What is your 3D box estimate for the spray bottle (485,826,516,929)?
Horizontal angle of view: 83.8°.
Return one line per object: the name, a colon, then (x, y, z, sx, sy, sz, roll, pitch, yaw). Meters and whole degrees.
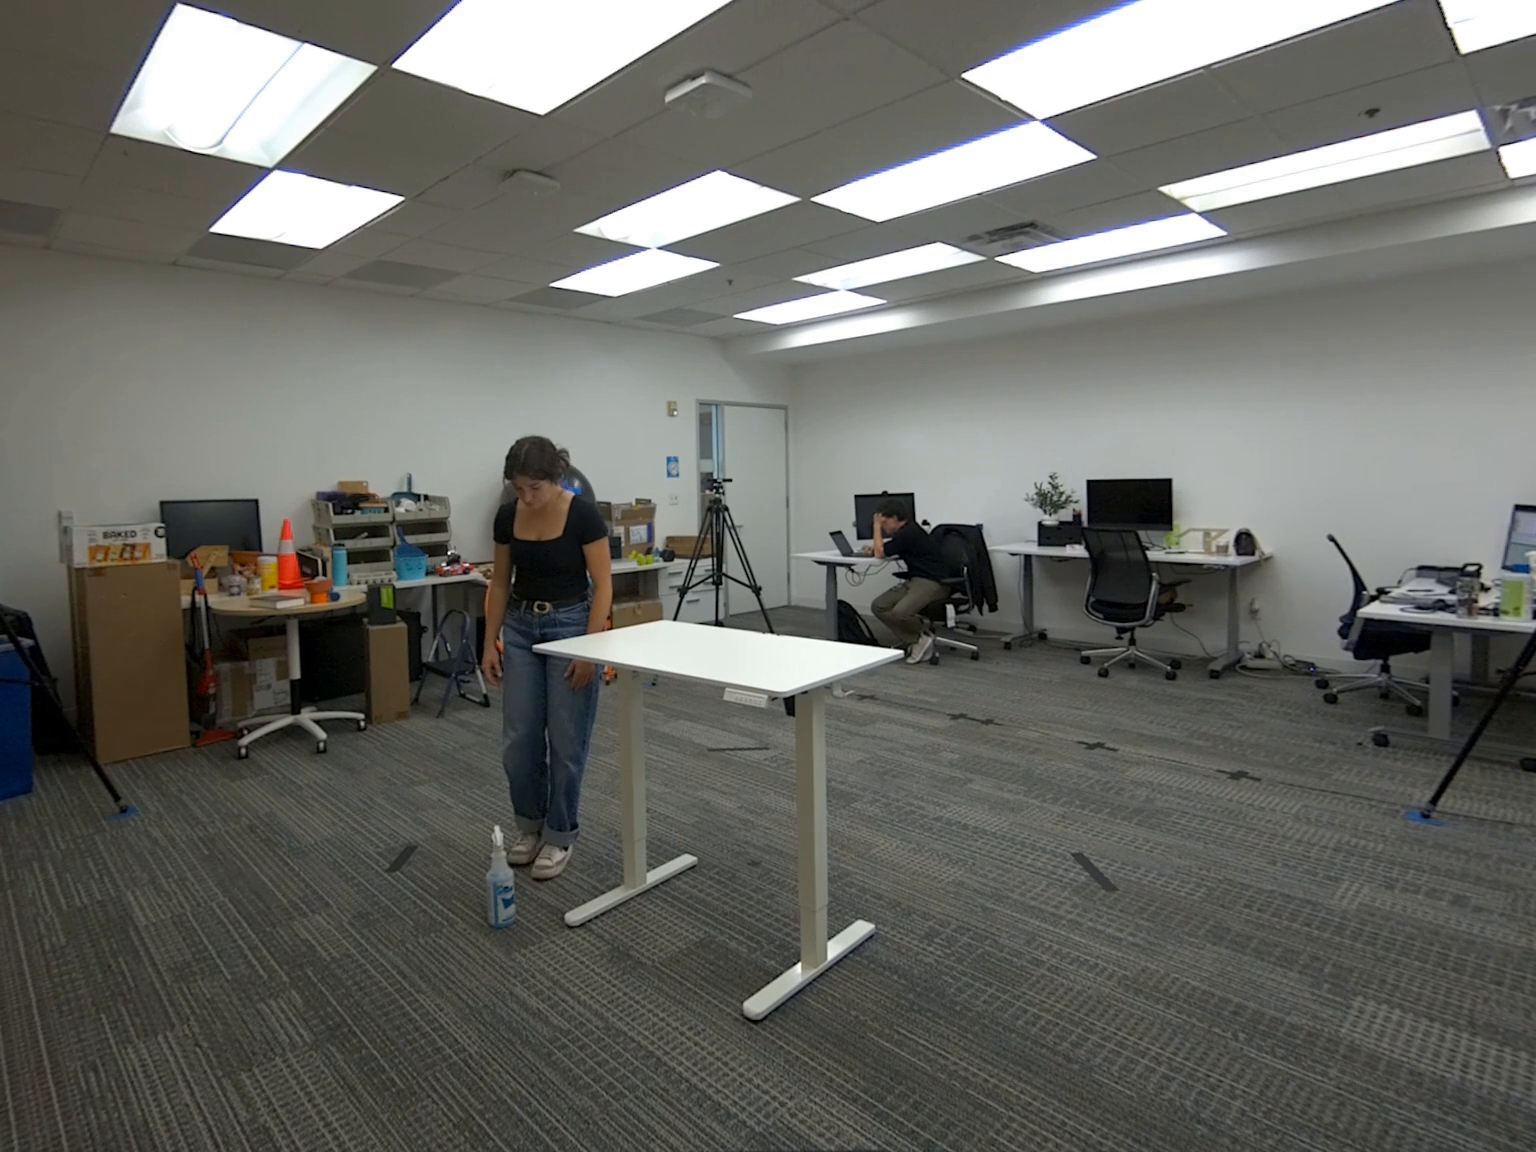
spray bottle: (-0.857, 0.964, 2.722, 0.087, 0.297, 0.090, 0, 3, 6)
